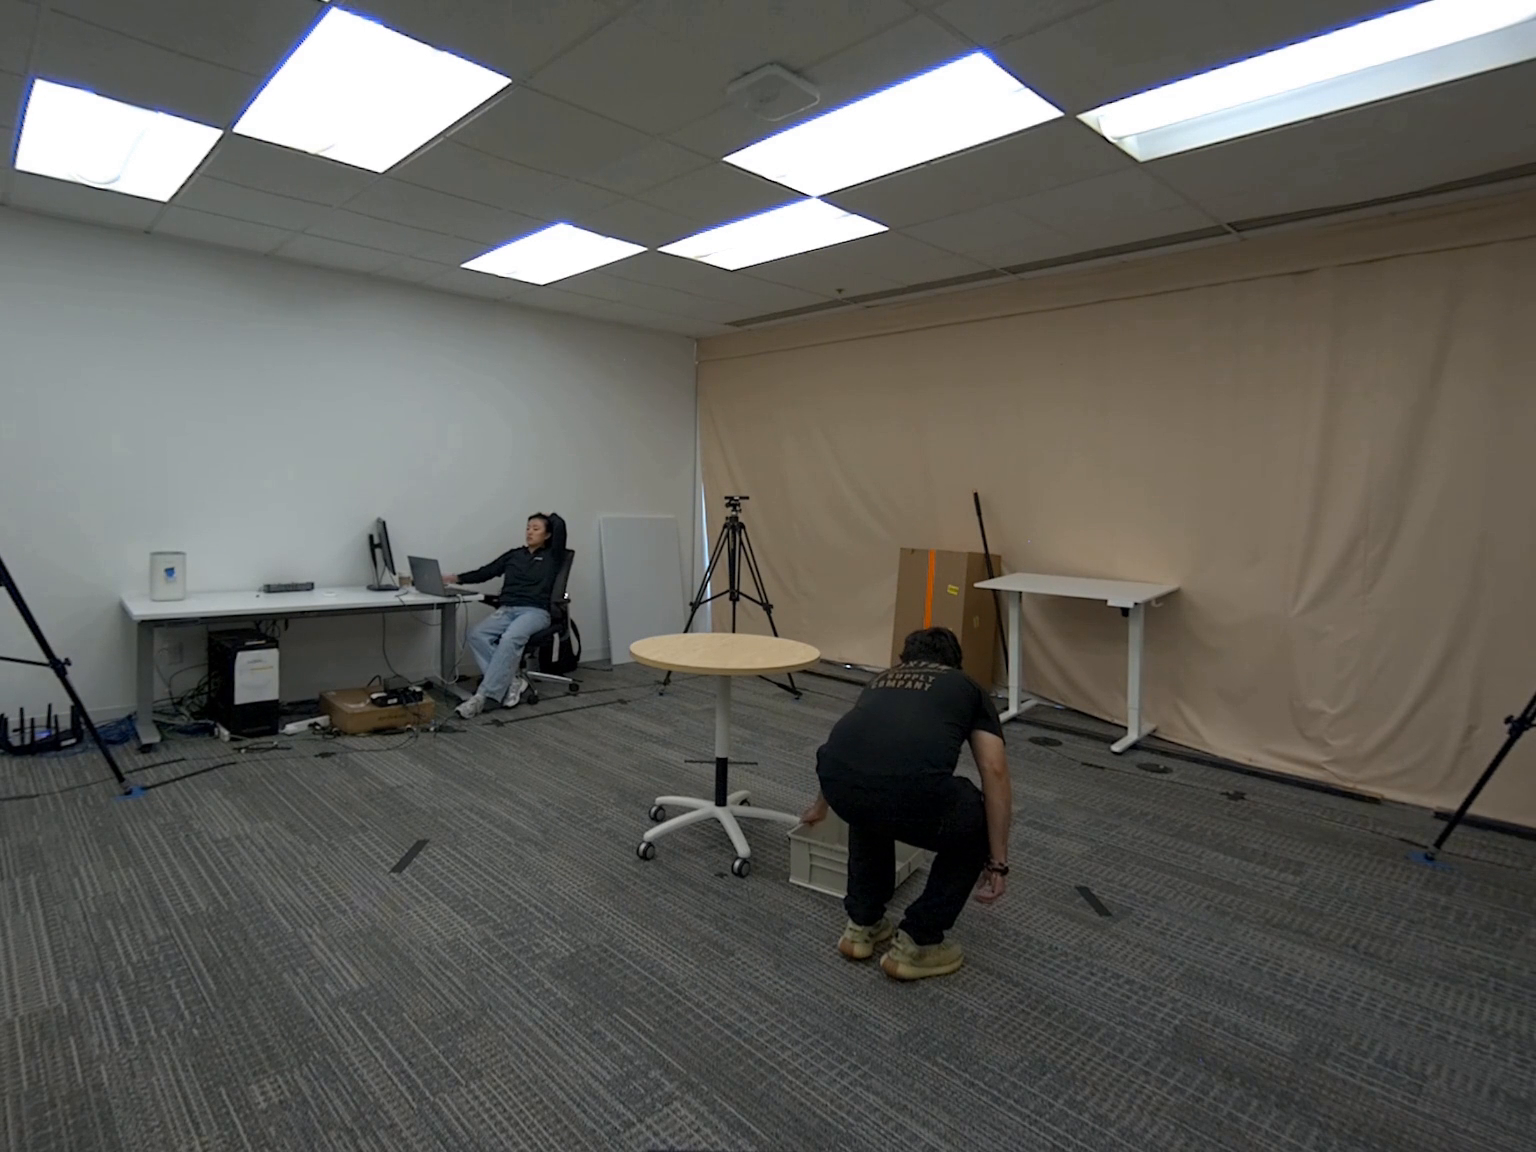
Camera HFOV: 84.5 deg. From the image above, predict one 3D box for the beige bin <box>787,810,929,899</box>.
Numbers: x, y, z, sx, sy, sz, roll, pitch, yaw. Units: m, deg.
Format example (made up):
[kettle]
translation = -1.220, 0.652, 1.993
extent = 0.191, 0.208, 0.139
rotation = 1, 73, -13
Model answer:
[beige bin]
translation = 0.315, 1.027, 3.132
extent = 0.385, 0.188, 0.414
rotation = 3, 5, 30
